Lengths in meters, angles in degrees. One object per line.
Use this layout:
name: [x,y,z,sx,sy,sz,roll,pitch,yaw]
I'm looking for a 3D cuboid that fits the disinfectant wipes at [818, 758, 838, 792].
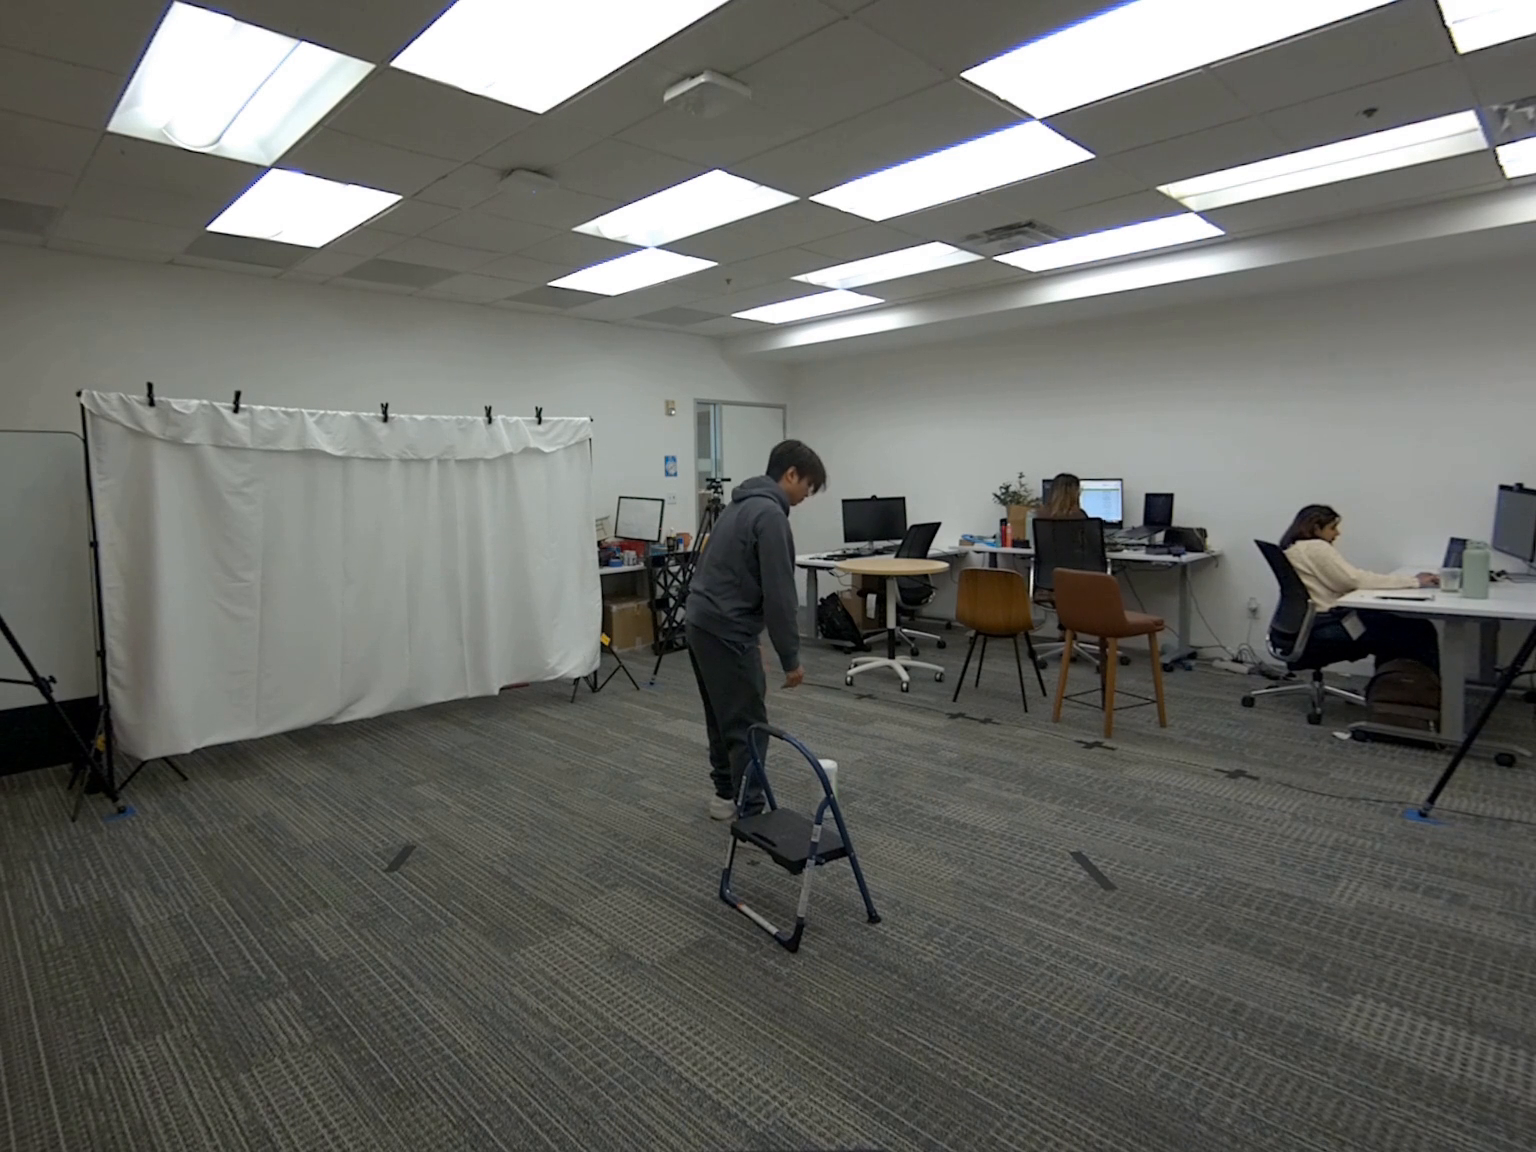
disinfectant wipes: [0.235,0.878,3.536,0.118,0.217,0.118,0,3,-2]
